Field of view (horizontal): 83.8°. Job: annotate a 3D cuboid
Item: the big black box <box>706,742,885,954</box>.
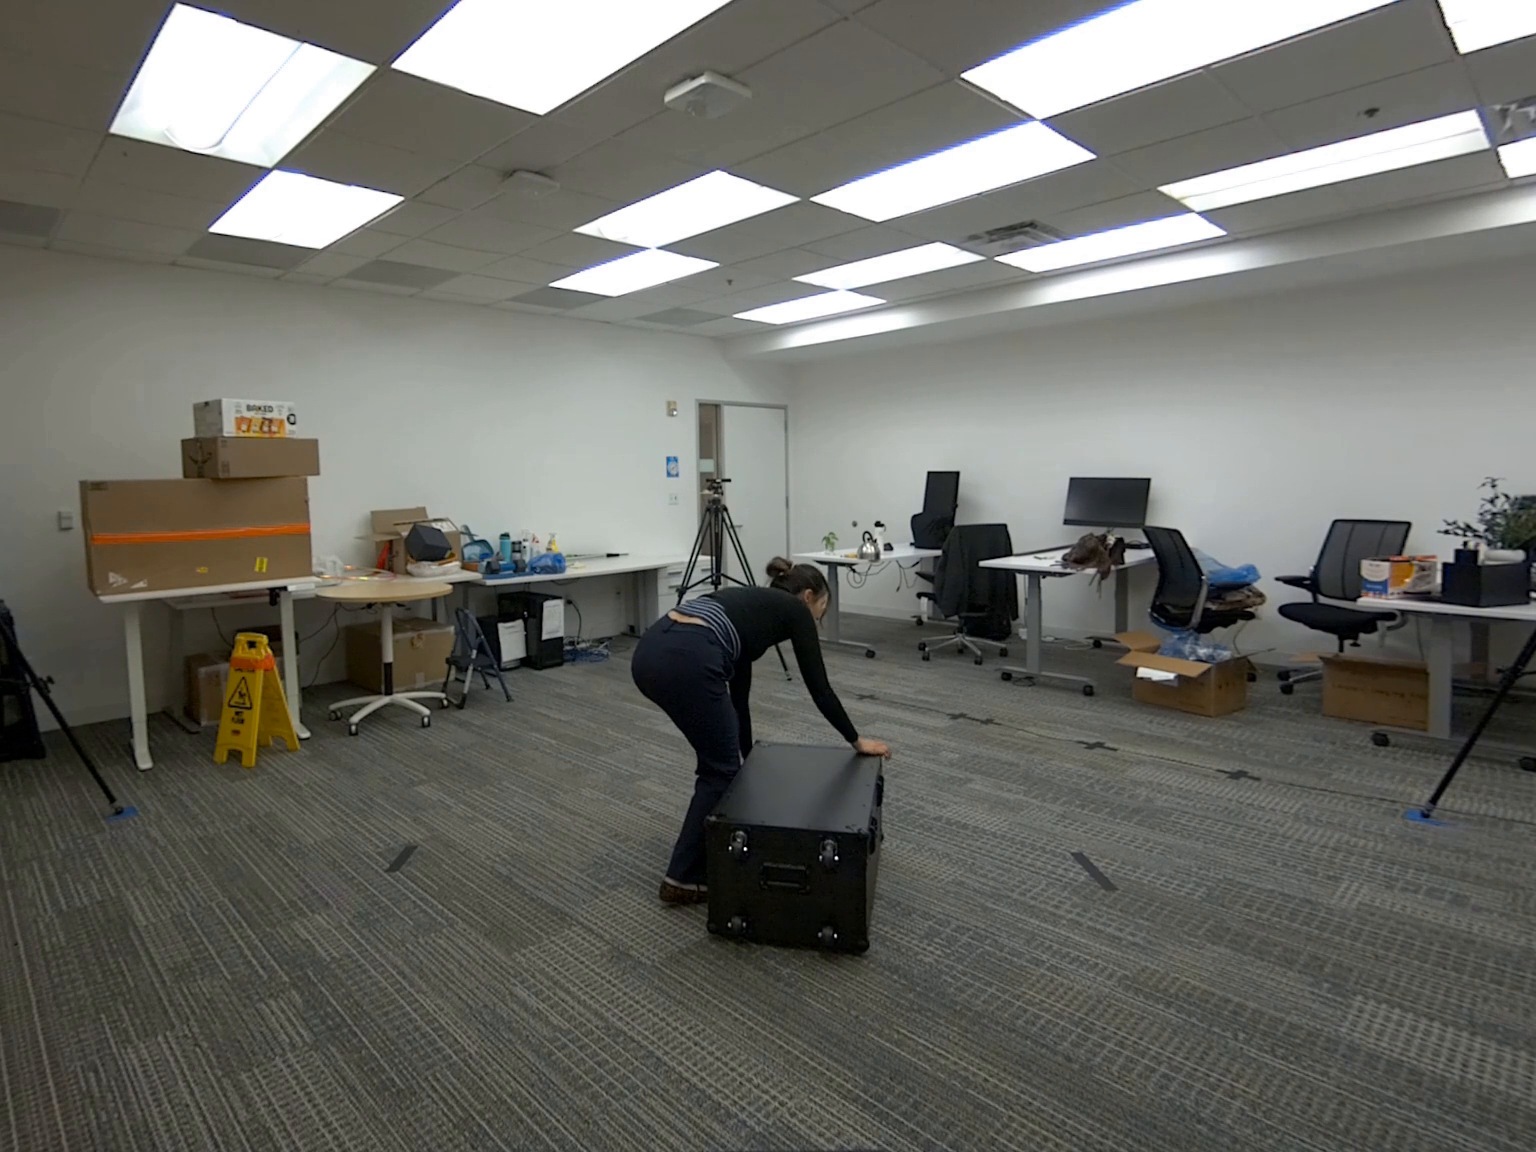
[{"bbox_3d":[0.113,0.875,2.859,0.528,0.395,0.854,1,5,11],"label":"big black box"}]
